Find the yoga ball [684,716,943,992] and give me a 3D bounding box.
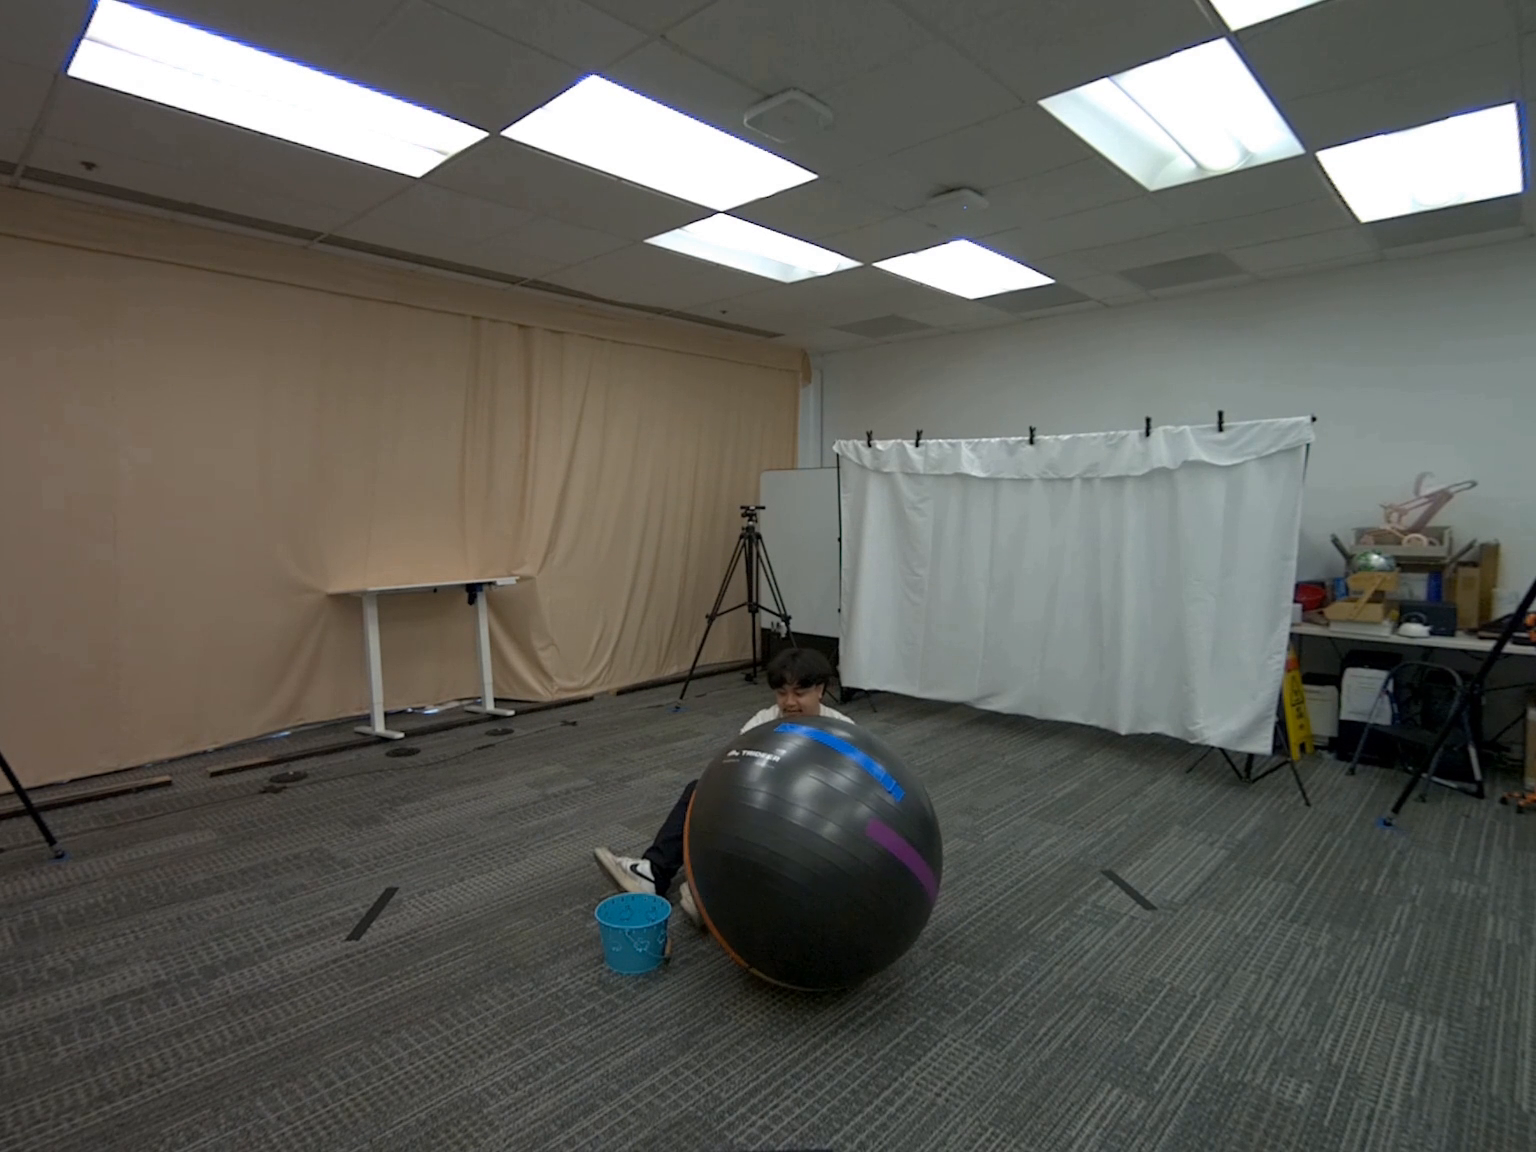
[{"bbox_3d":[0.129,0.799,2.494,0.757,0.756,0.760,0,4,-2],"label":"yoga ball"}]
